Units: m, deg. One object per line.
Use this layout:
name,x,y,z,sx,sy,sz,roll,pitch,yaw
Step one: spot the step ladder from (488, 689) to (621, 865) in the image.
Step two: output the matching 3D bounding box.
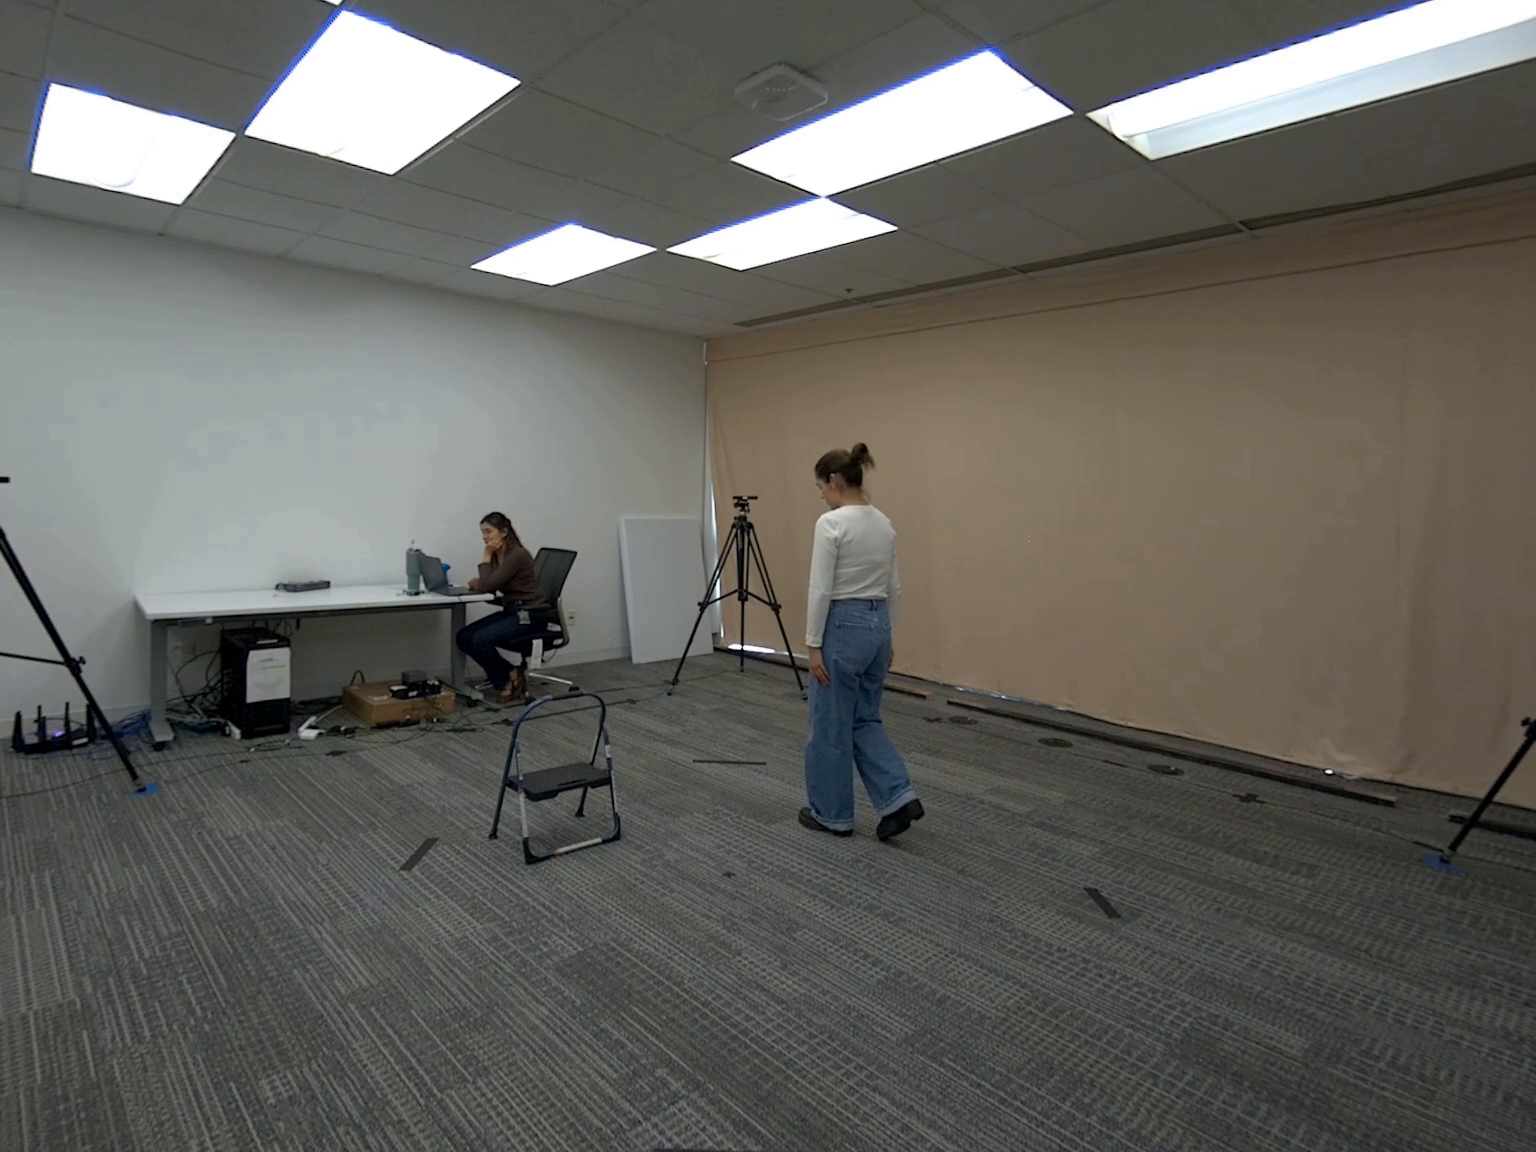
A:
step ladder,-0.859,0.759,3.383,0.421,0.604,0.358,-3,5,-42
